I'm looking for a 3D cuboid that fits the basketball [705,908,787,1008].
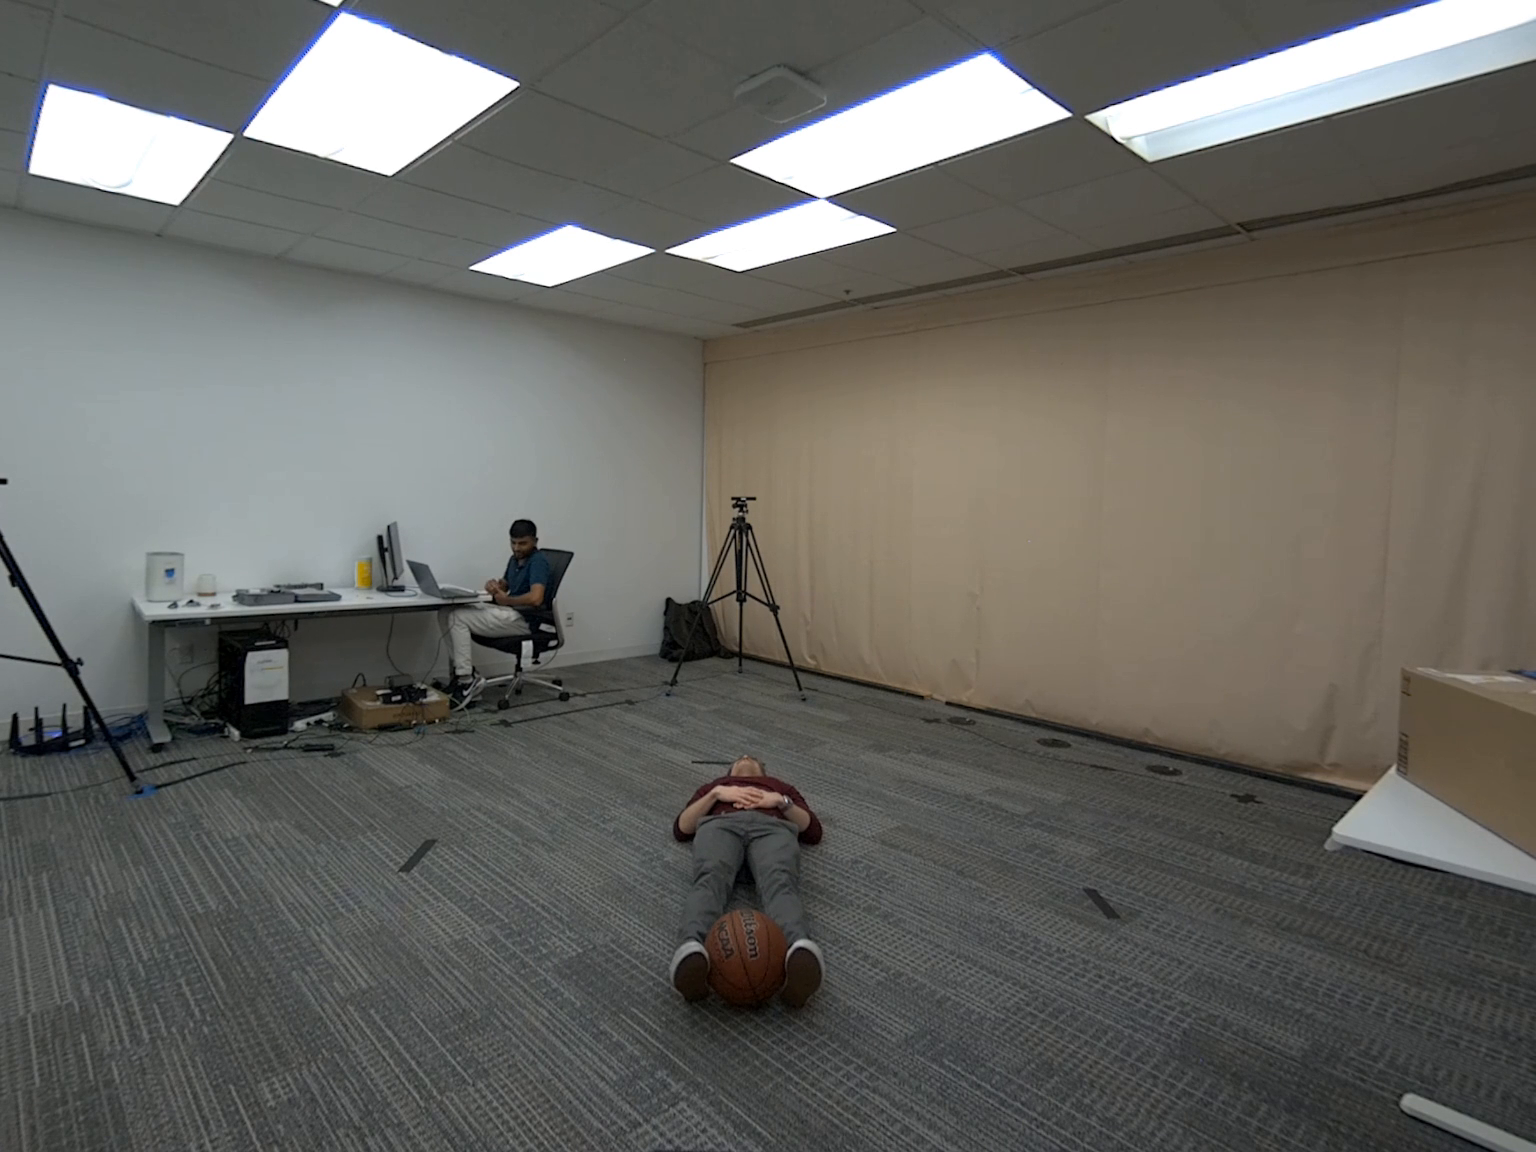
[{"bbox_3d":[-0.068,1.048,2.304,0.236,0.234,0.237,0,7,-1],"label":"basketball"}]
